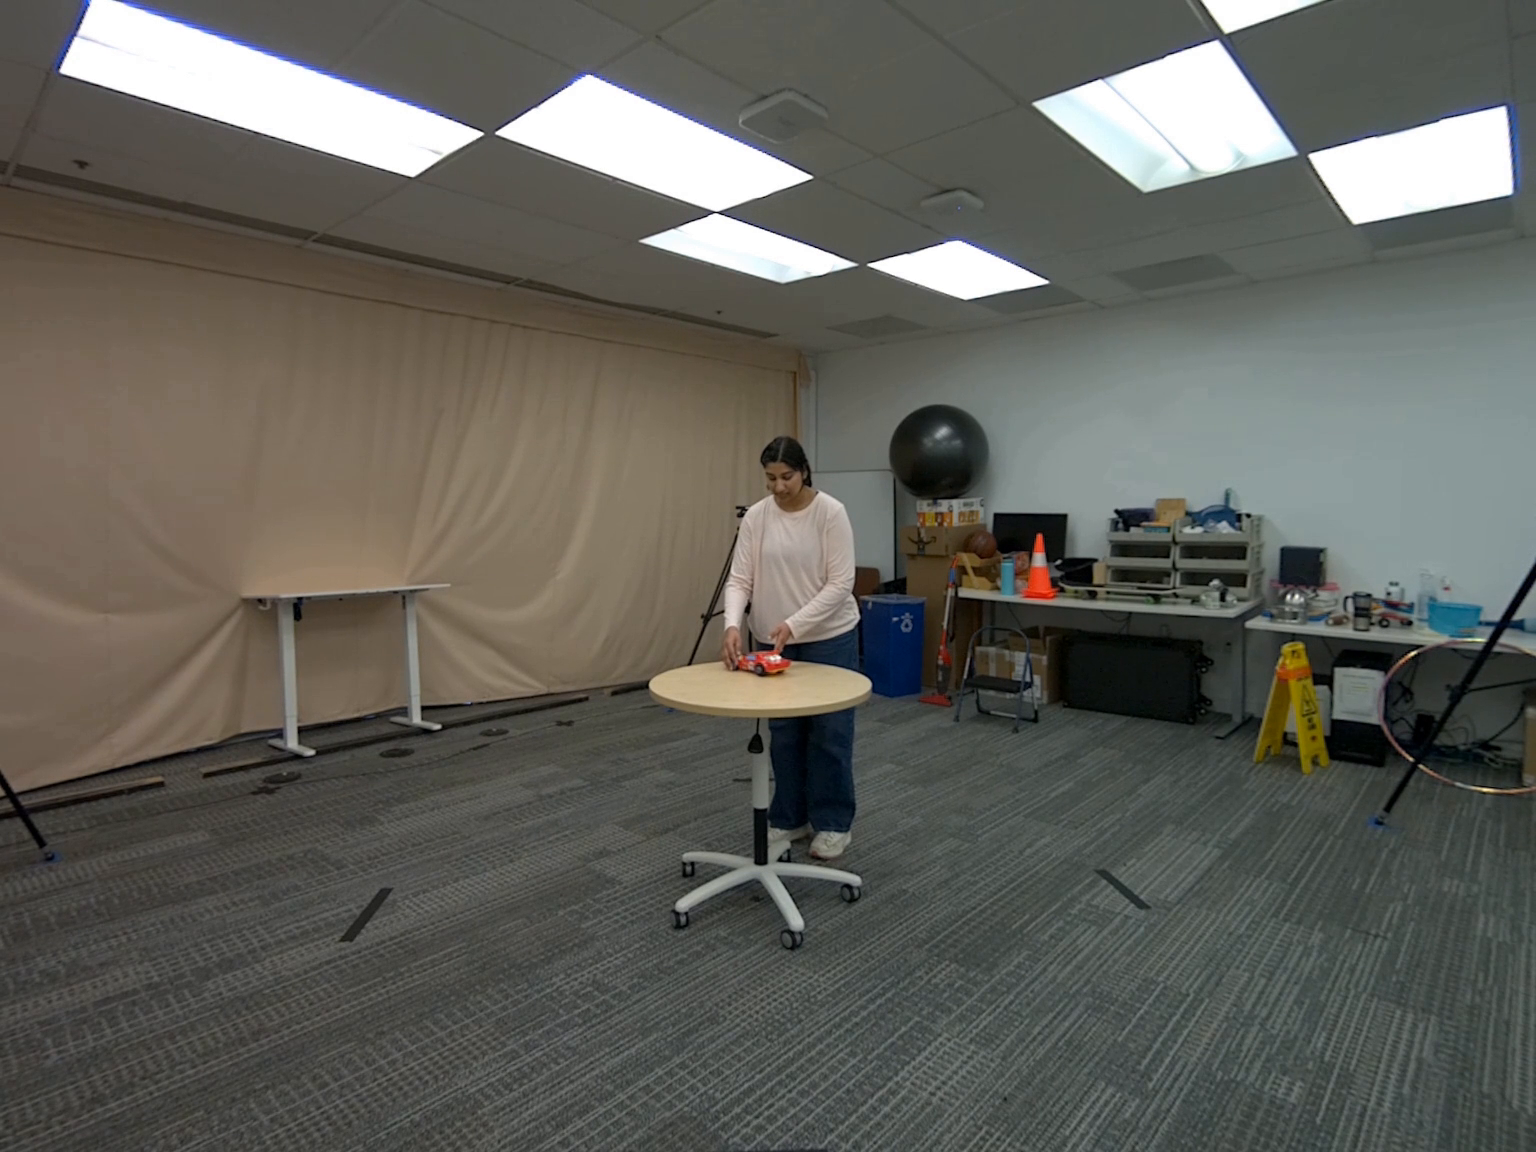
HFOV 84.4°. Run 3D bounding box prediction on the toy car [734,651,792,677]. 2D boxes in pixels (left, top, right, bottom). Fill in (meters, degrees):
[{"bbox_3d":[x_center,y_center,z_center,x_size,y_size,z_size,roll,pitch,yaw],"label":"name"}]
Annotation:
[{"bbox_3d":[-0.025,0.321,3.070,0.126,0.083,0.261,-5,-5,-41],"label":"toy car"}]
